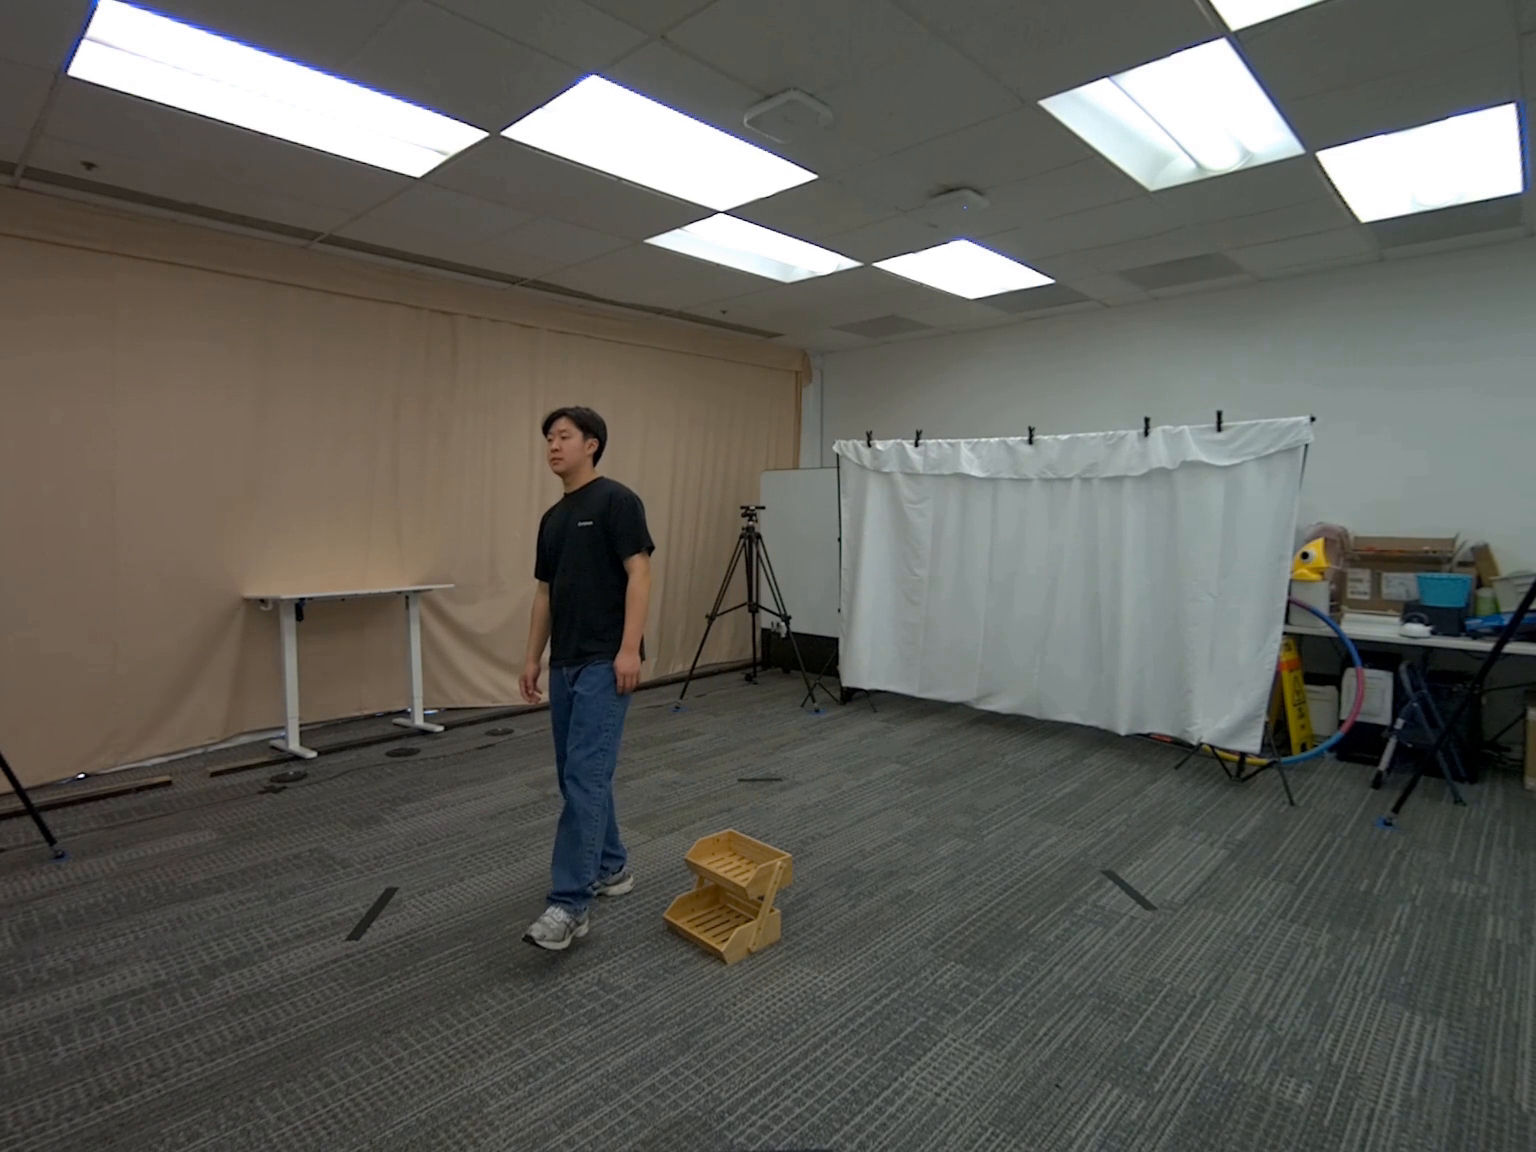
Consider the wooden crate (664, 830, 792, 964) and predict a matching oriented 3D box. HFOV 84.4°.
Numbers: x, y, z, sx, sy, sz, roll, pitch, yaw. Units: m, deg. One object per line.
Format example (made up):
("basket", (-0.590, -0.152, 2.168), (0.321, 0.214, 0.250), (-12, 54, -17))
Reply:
("wooden crate", (-0.135, 1.029, 2.745), (0.293, 0.273, 0.335), (-3, 4, -43))
